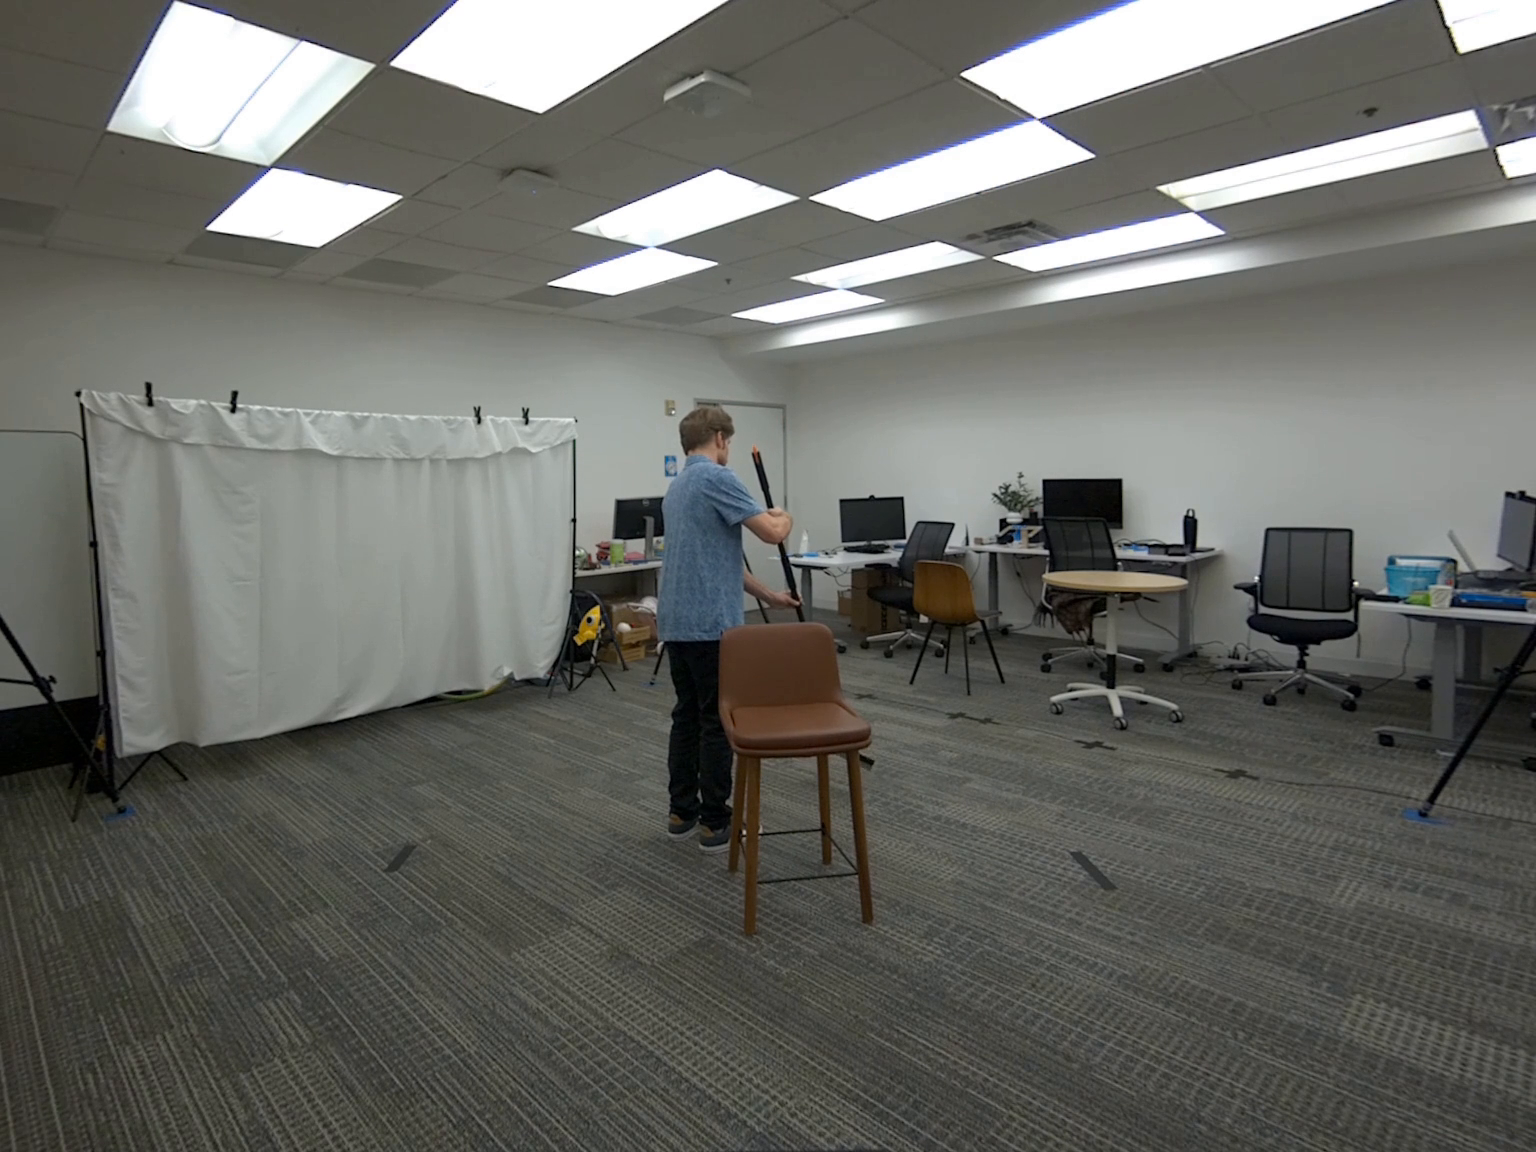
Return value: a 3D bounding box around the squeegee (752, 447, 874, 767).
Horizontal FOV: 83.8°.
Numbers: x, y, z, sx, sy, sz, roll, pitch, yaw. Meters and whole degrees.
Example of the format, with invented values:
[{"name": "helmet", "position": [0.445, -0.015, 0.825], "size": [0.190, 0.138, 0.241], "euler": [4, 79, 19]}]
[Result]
[{"name": "squeegee", "position": [0.130, 0.153, 3.690], "size": [0.052, 1.502, 0.452], "euler": [-30, 26, -32]}]
